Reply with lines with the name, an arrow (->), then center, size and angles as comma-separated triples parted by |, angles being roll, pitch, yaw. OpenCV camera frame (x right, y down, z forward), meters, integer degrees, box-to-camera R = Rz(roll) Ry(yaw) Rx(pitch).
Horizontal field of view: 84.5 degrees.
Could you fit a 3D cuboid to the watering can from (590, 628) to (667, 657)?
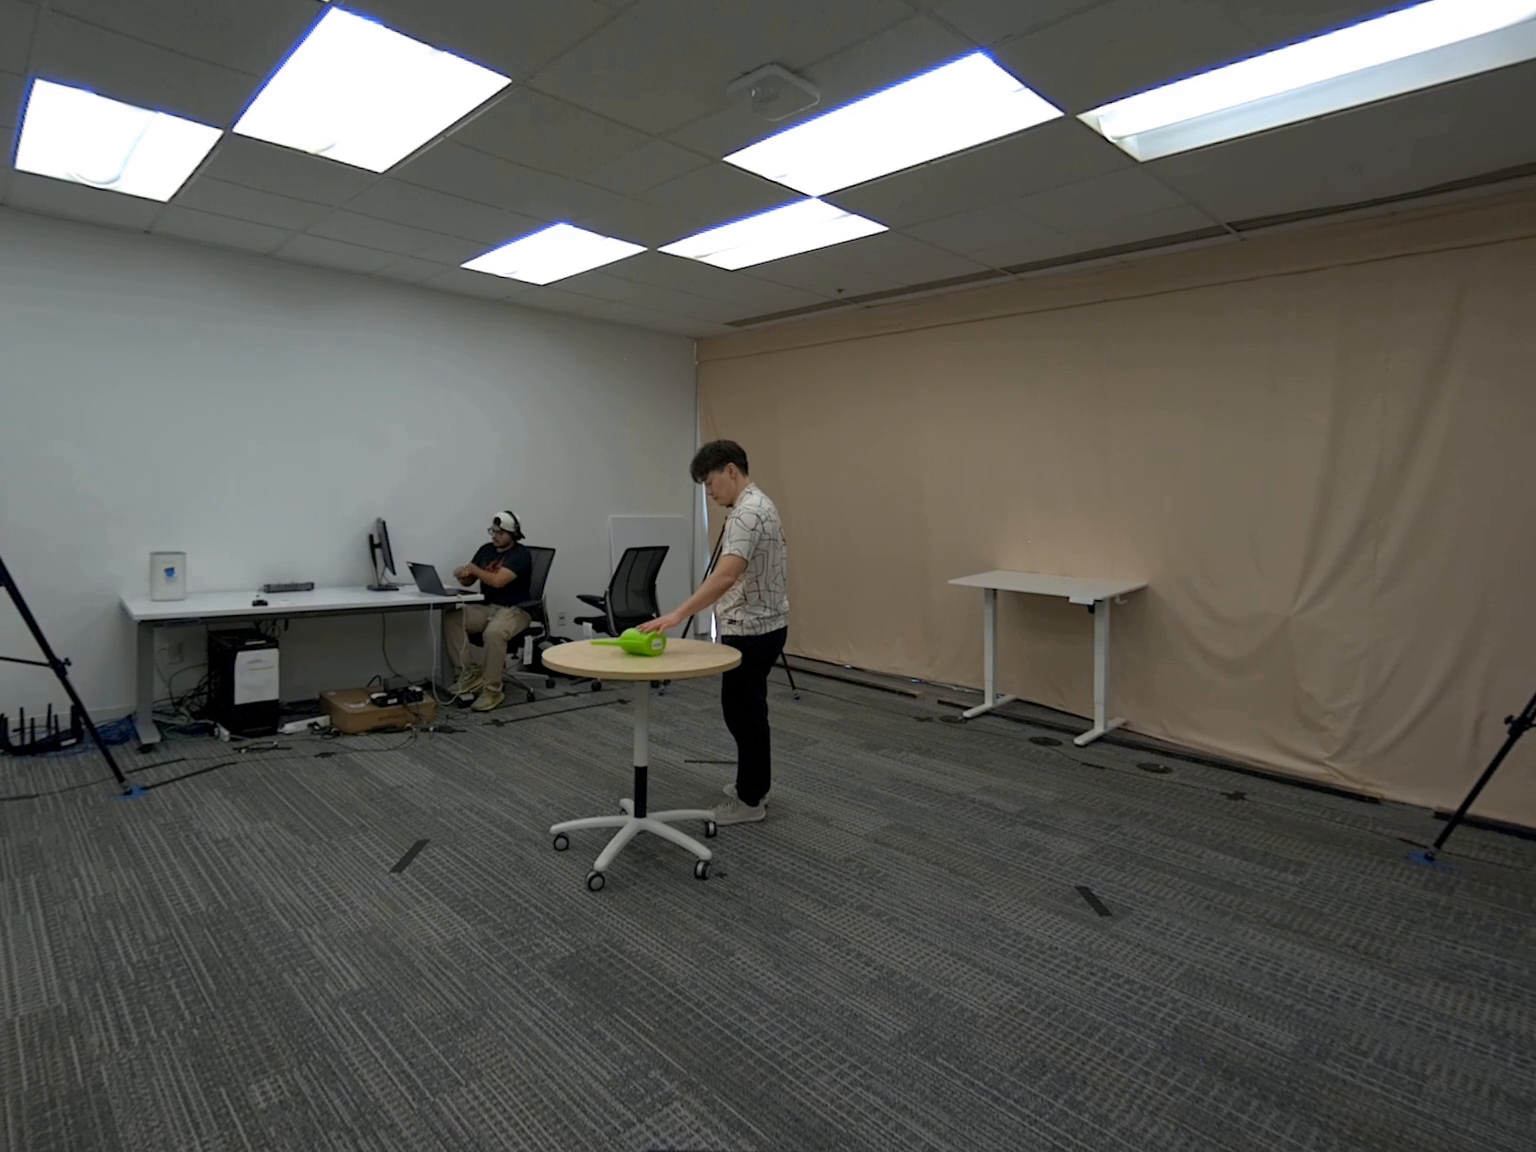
watering can -> -0.526, 0.263, 3.203 | 0.181, 0.097, 0.275 | 4, 17, 33
